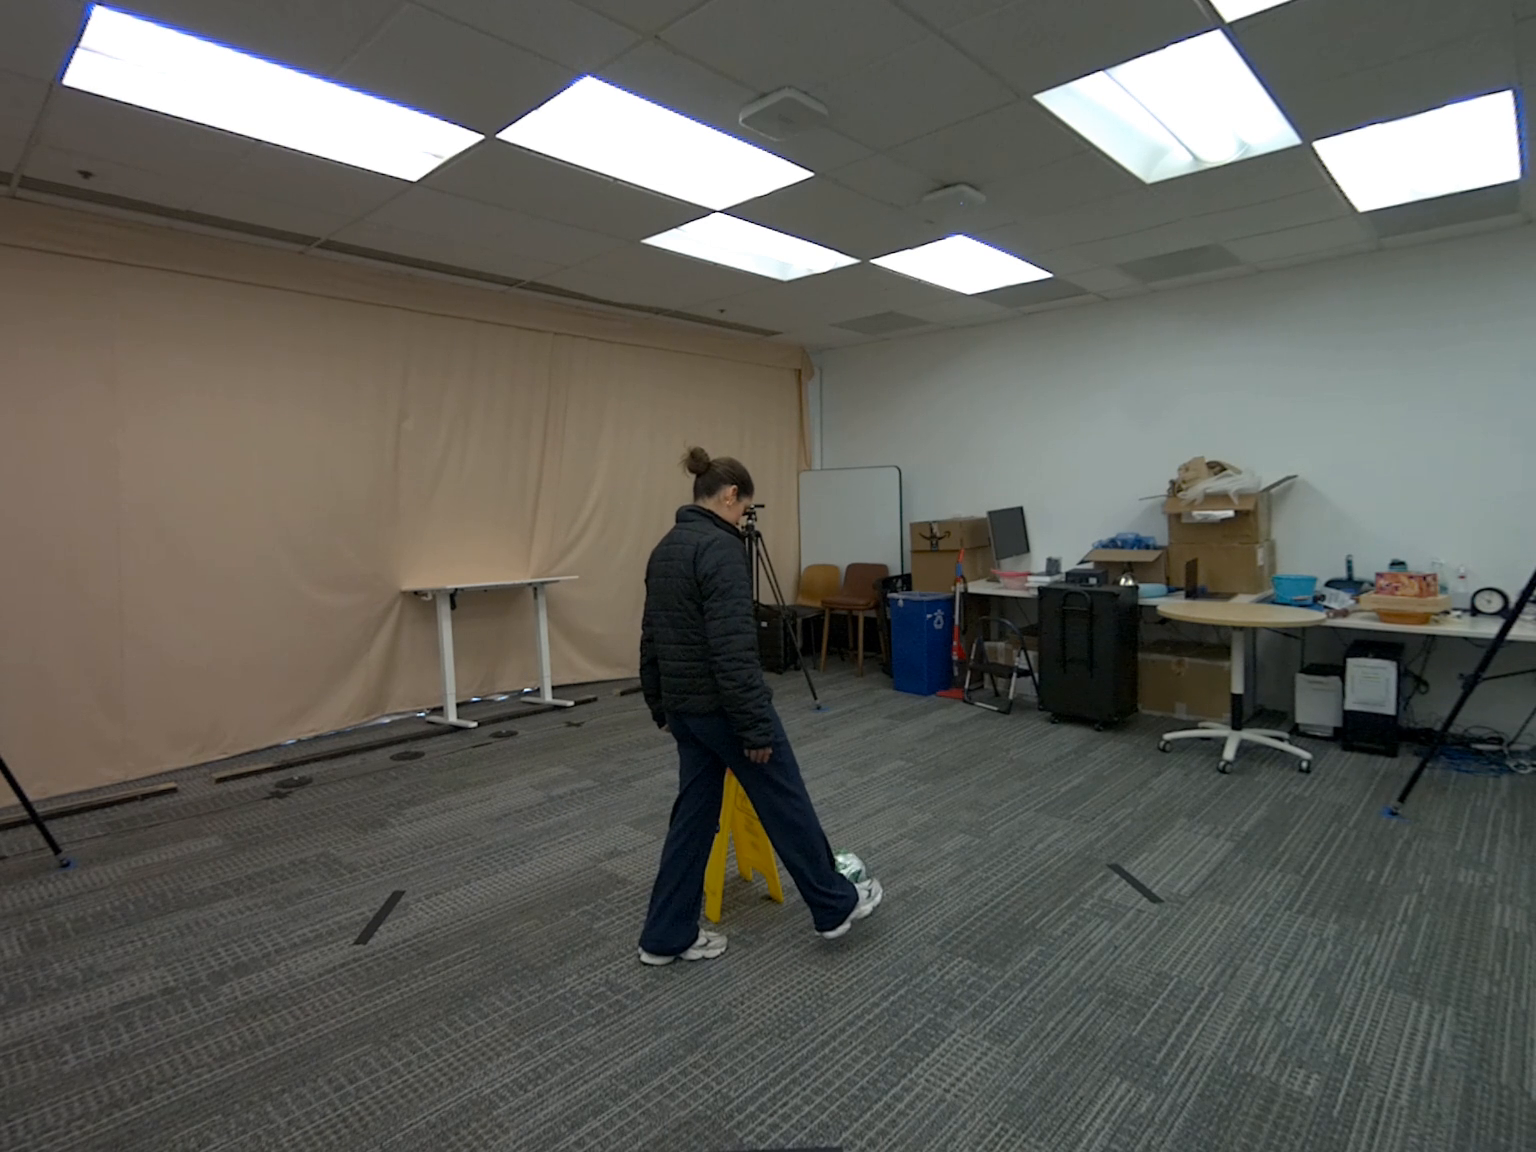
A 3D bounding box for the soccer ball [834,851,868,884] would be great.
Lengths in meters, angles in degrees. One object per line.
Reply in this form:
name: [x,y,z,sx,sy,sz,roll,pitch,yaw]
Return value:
soccer ball: [0.271,1.051,2.911,0.187,0.187,0.188,-1,4,-2]
